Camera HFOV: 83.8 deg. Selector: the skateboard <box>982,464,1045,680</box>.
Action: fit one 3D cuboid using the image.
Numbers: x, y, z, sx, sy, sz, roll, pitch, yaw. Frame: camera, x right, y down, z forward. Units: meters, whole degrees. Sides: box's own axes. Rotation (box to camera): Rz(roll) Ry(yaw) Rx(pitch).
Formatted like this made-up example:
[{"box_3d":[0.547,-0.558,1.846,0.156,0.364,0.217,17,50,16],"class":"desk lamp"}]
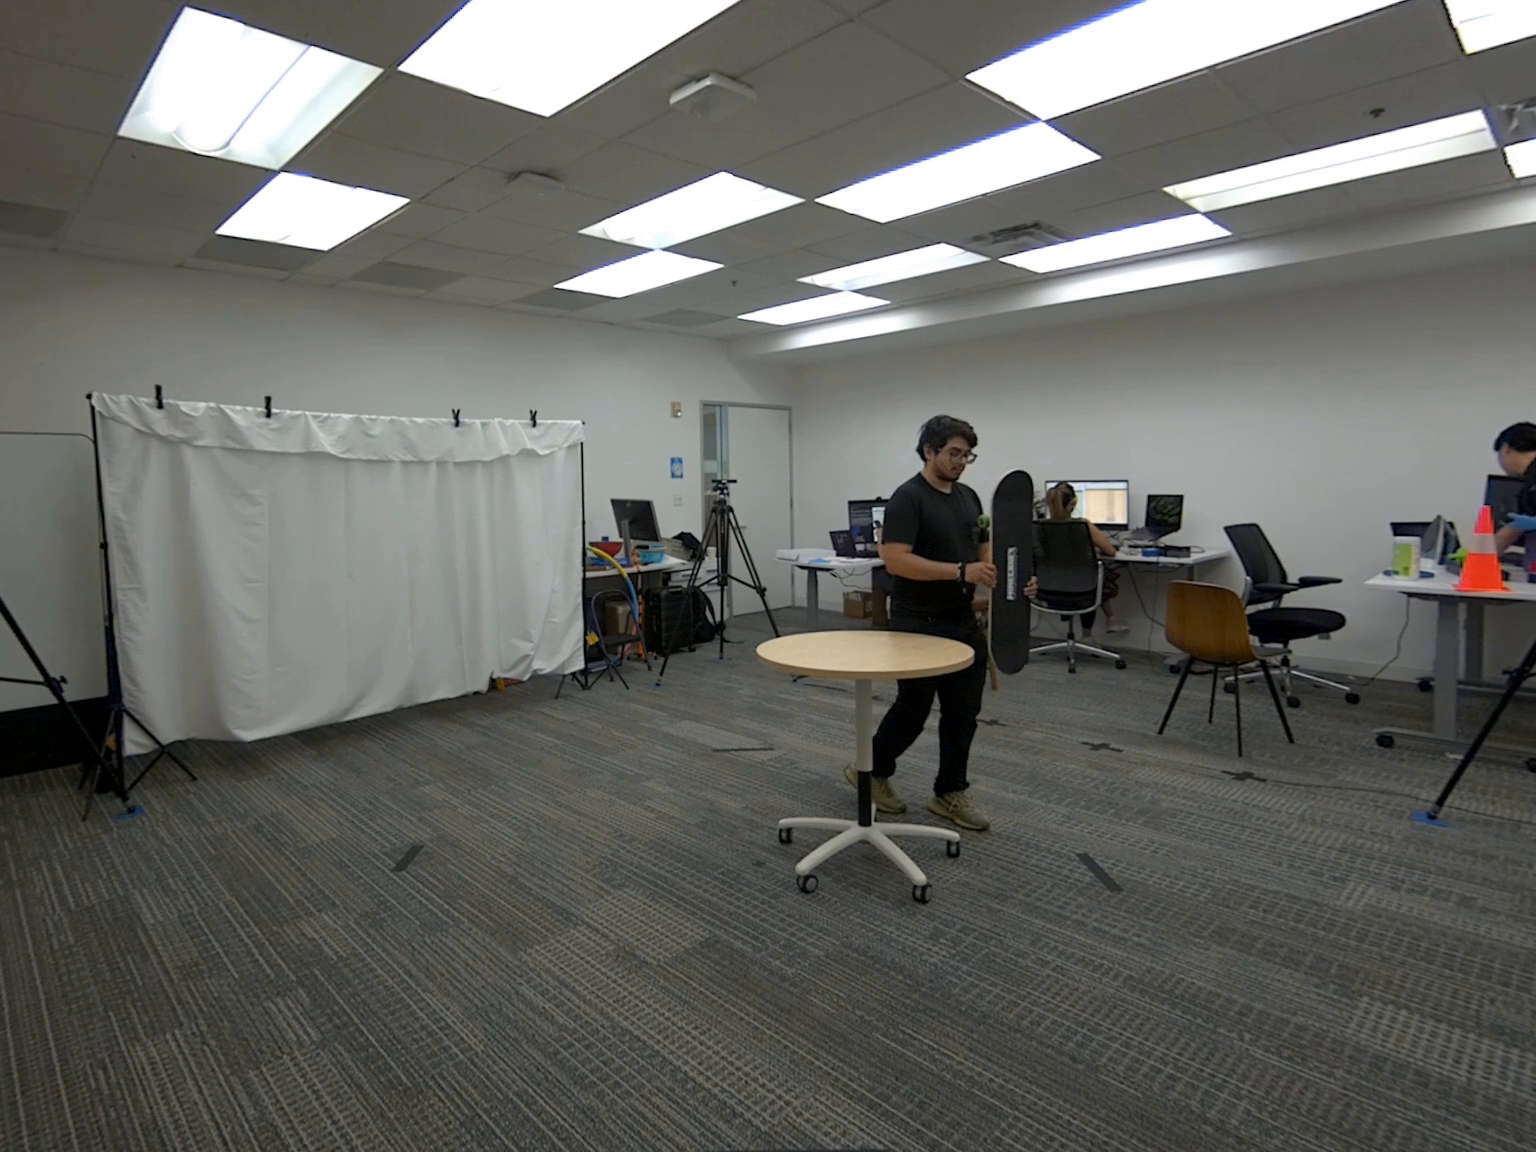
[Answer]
[{"box_3d":[0.921,-0.017,3.232,0.190,0.776,0.113,-8,13,-23],"class":"skateboard"}]
